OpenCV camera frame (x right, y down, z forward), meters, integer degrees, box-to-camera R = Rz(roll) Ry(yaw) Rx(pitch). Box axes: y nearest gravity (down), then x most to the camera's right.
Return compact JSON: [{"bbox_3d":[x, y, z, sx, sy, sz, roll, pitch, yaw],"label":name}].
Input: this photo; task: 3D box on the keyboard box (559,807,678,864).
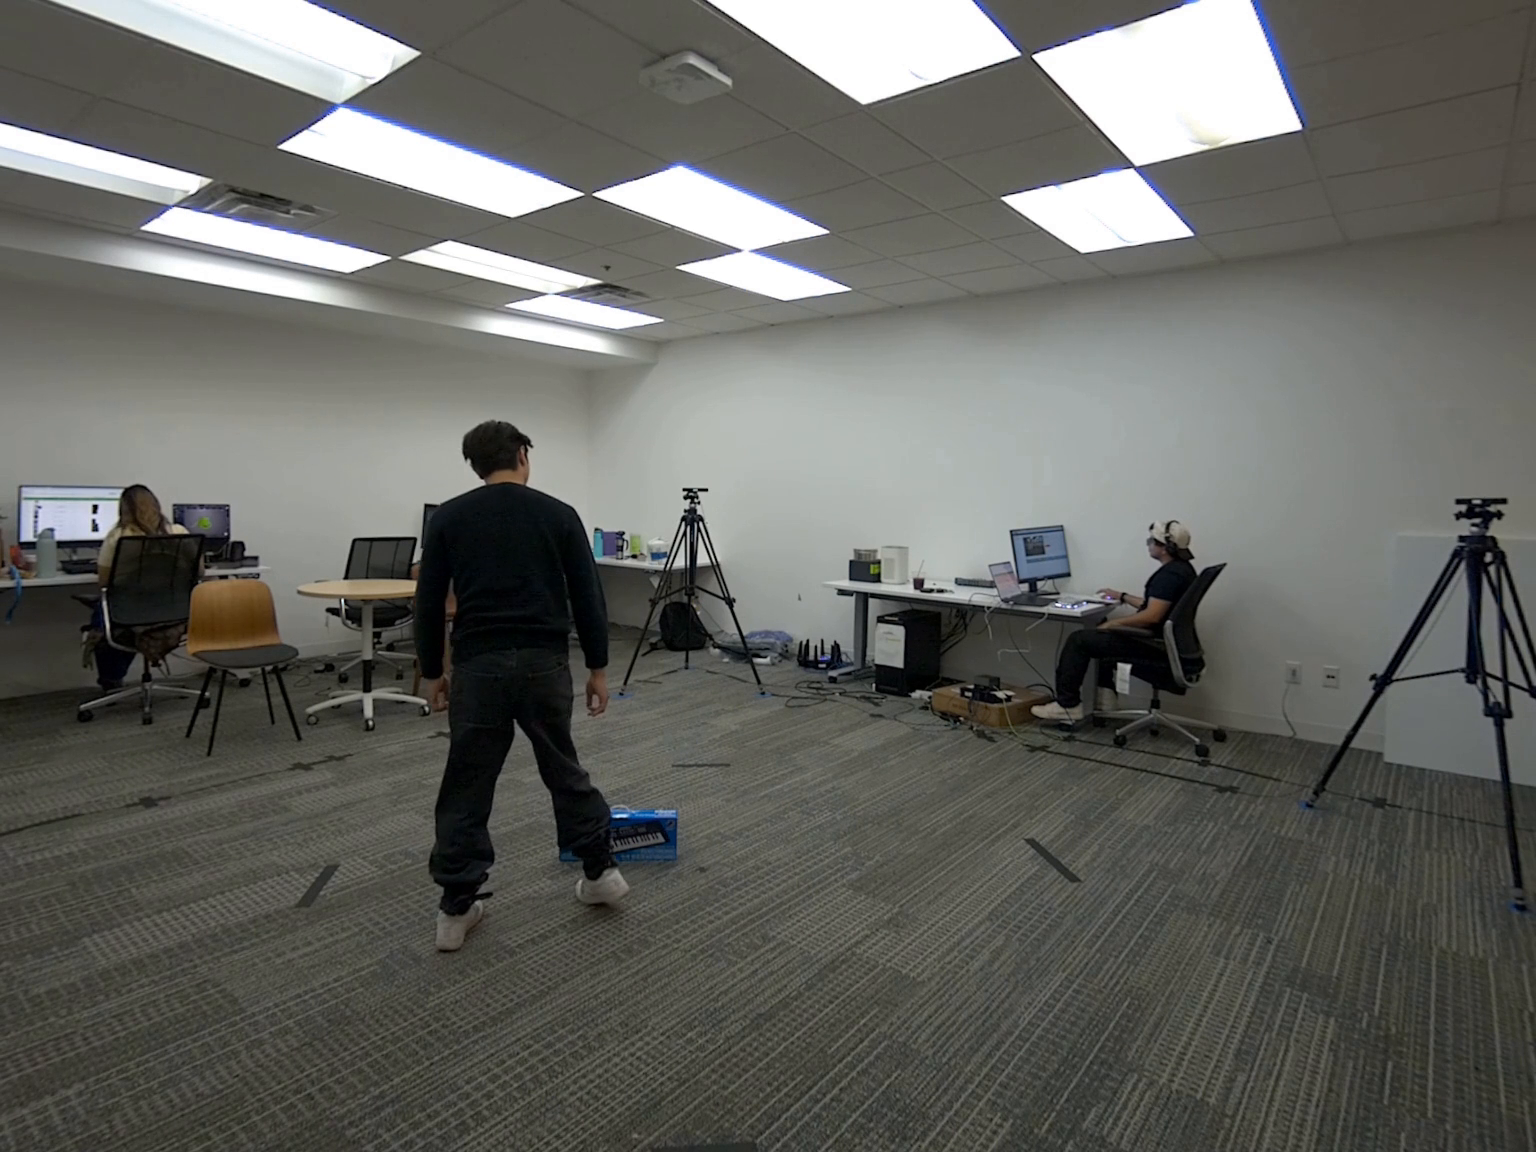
[{"bbox_3d":[-0.569,0.969,3.182,0.435,0.175,0.060,1,8,-4],"label":"keyboard box"}]
